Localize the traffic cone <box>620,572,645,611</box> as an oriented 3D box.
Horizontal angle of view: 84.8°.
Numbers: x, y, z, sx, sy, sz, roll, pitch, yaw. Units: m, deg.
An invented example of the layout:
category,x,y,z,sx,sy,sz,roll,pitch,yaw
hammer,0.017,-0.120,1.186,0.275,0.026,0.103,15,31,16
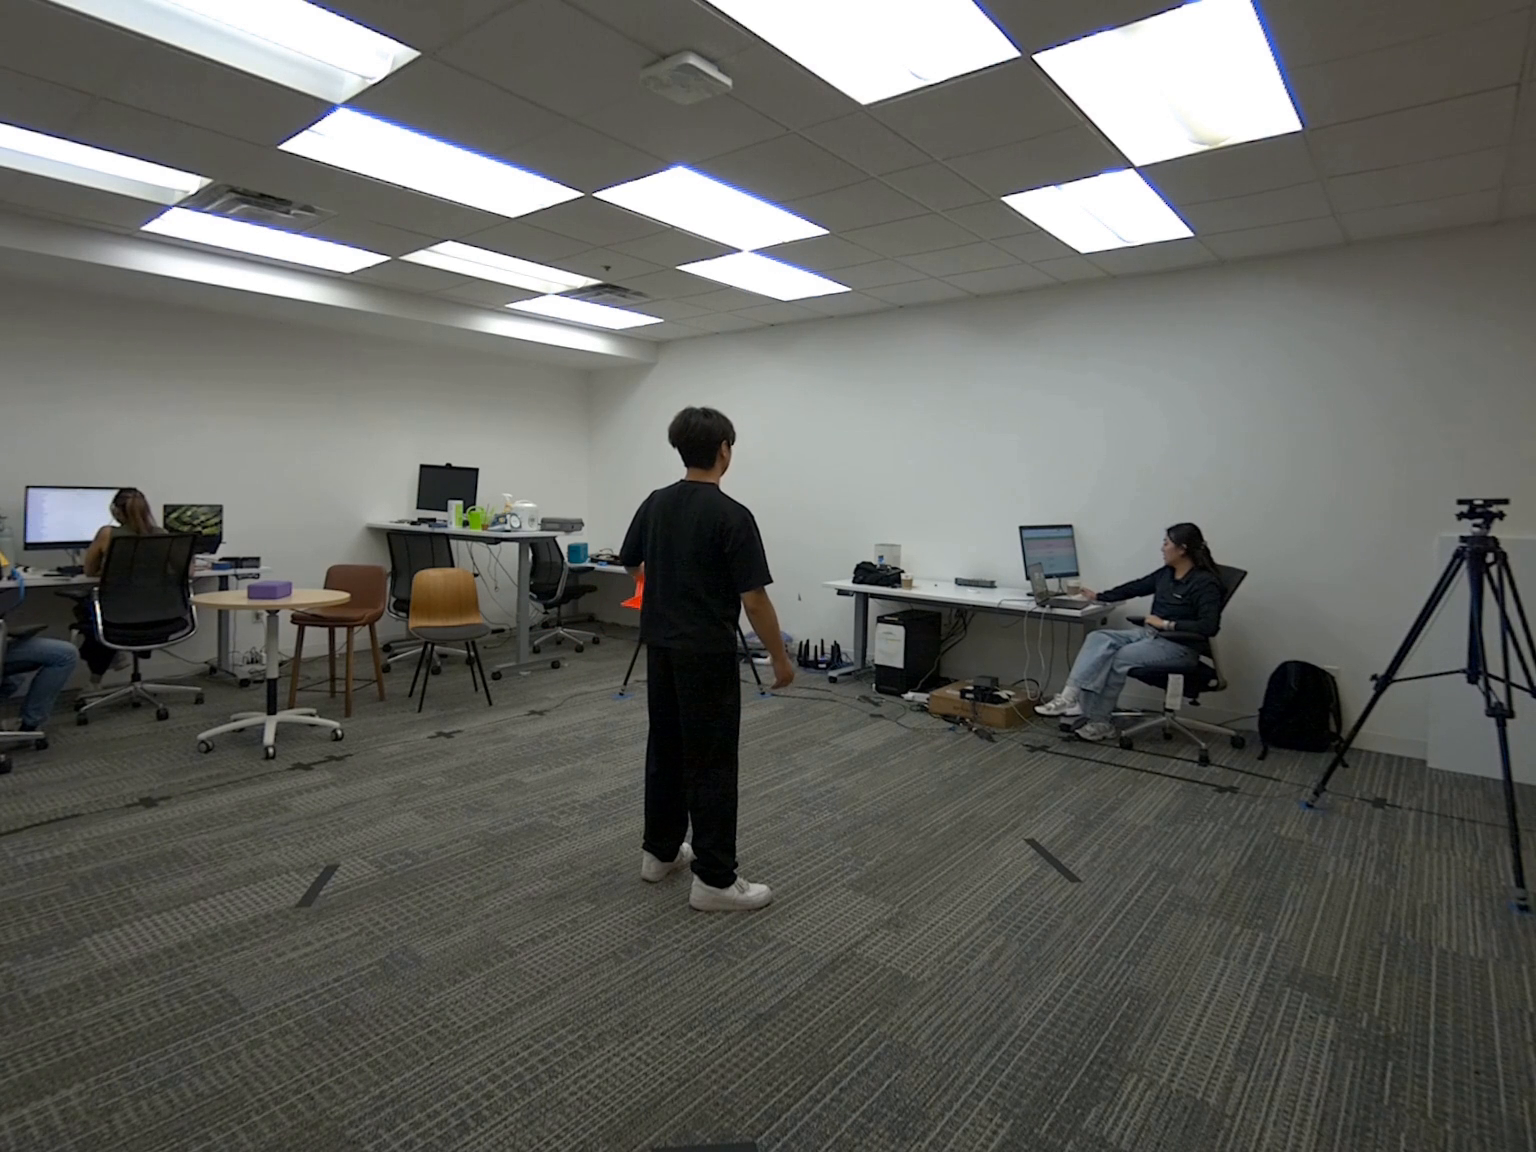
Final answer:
category,x,y,z,sx,sy,sz,roll,pitch,yaw
traffic cone,-0.478,-0.066,3.534,0.209,0.391,0.195,-11,-24,26
